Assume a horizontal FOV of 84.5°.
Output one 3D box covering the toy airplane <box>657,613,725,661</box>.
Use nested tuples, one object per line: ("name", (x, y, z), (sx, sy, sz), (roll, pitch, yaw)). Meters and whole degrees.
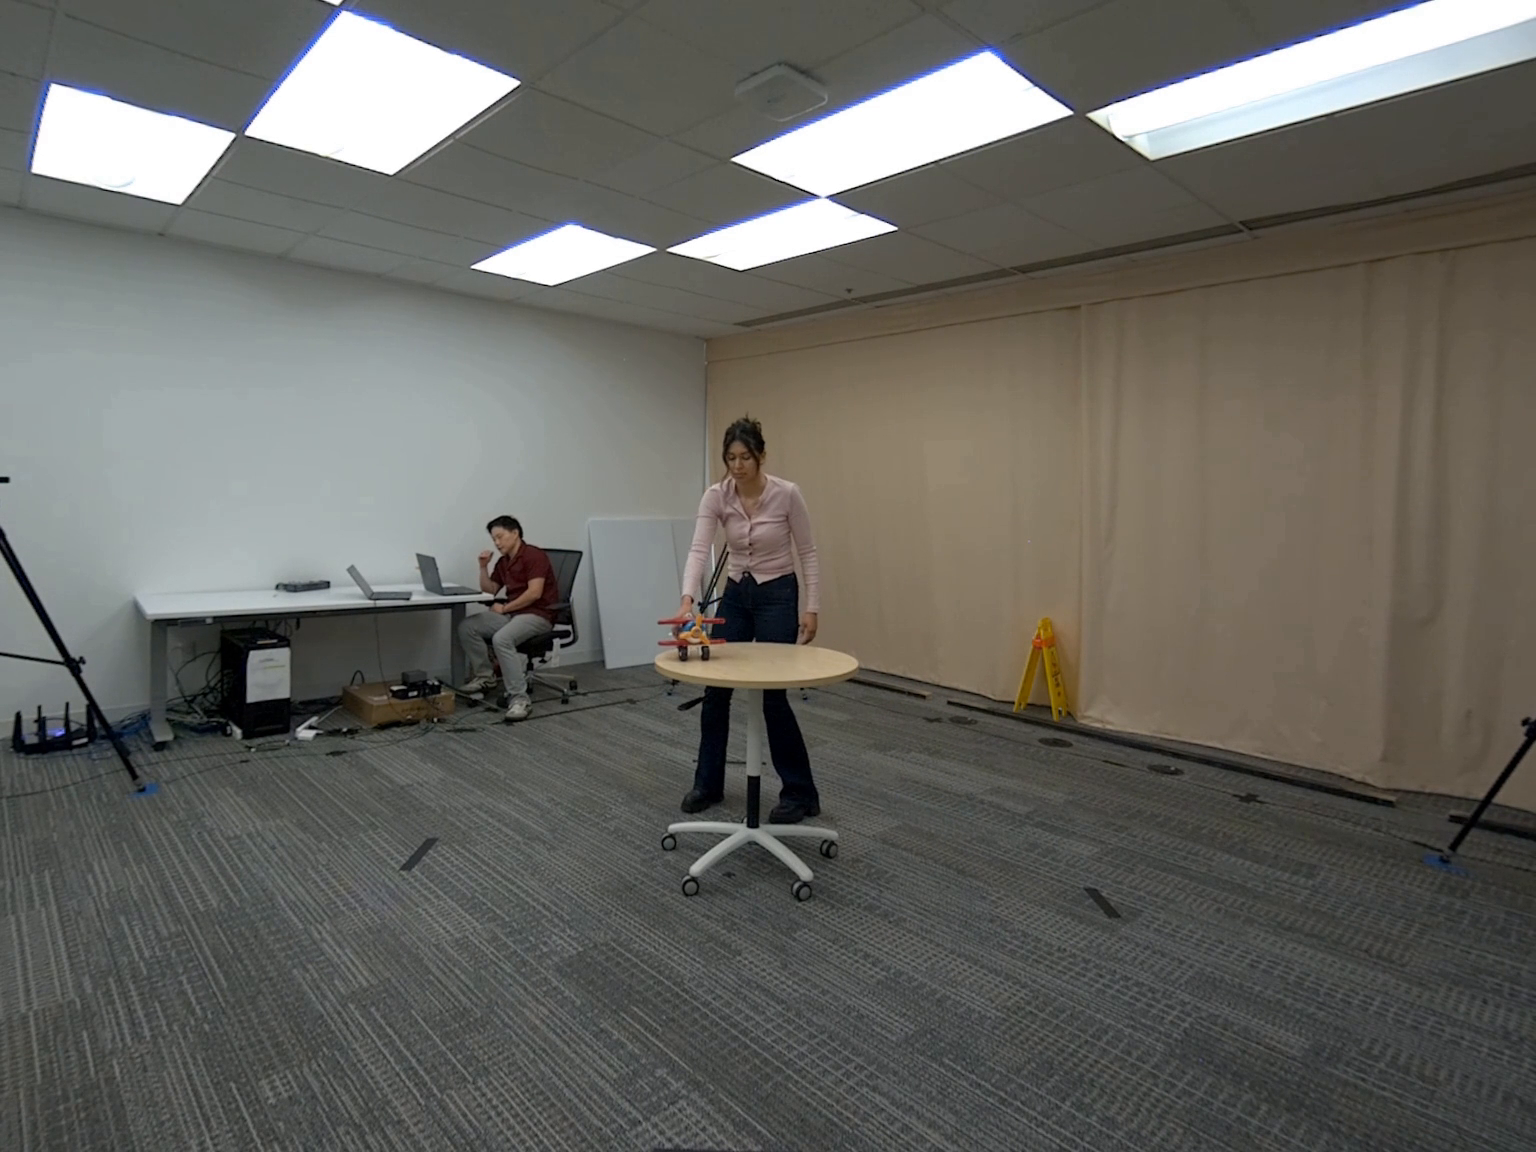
("toy airplane", (-0.317, 0.225, 3.208), (0.246, 0.155, 0.266), (-7, 13, -40))
